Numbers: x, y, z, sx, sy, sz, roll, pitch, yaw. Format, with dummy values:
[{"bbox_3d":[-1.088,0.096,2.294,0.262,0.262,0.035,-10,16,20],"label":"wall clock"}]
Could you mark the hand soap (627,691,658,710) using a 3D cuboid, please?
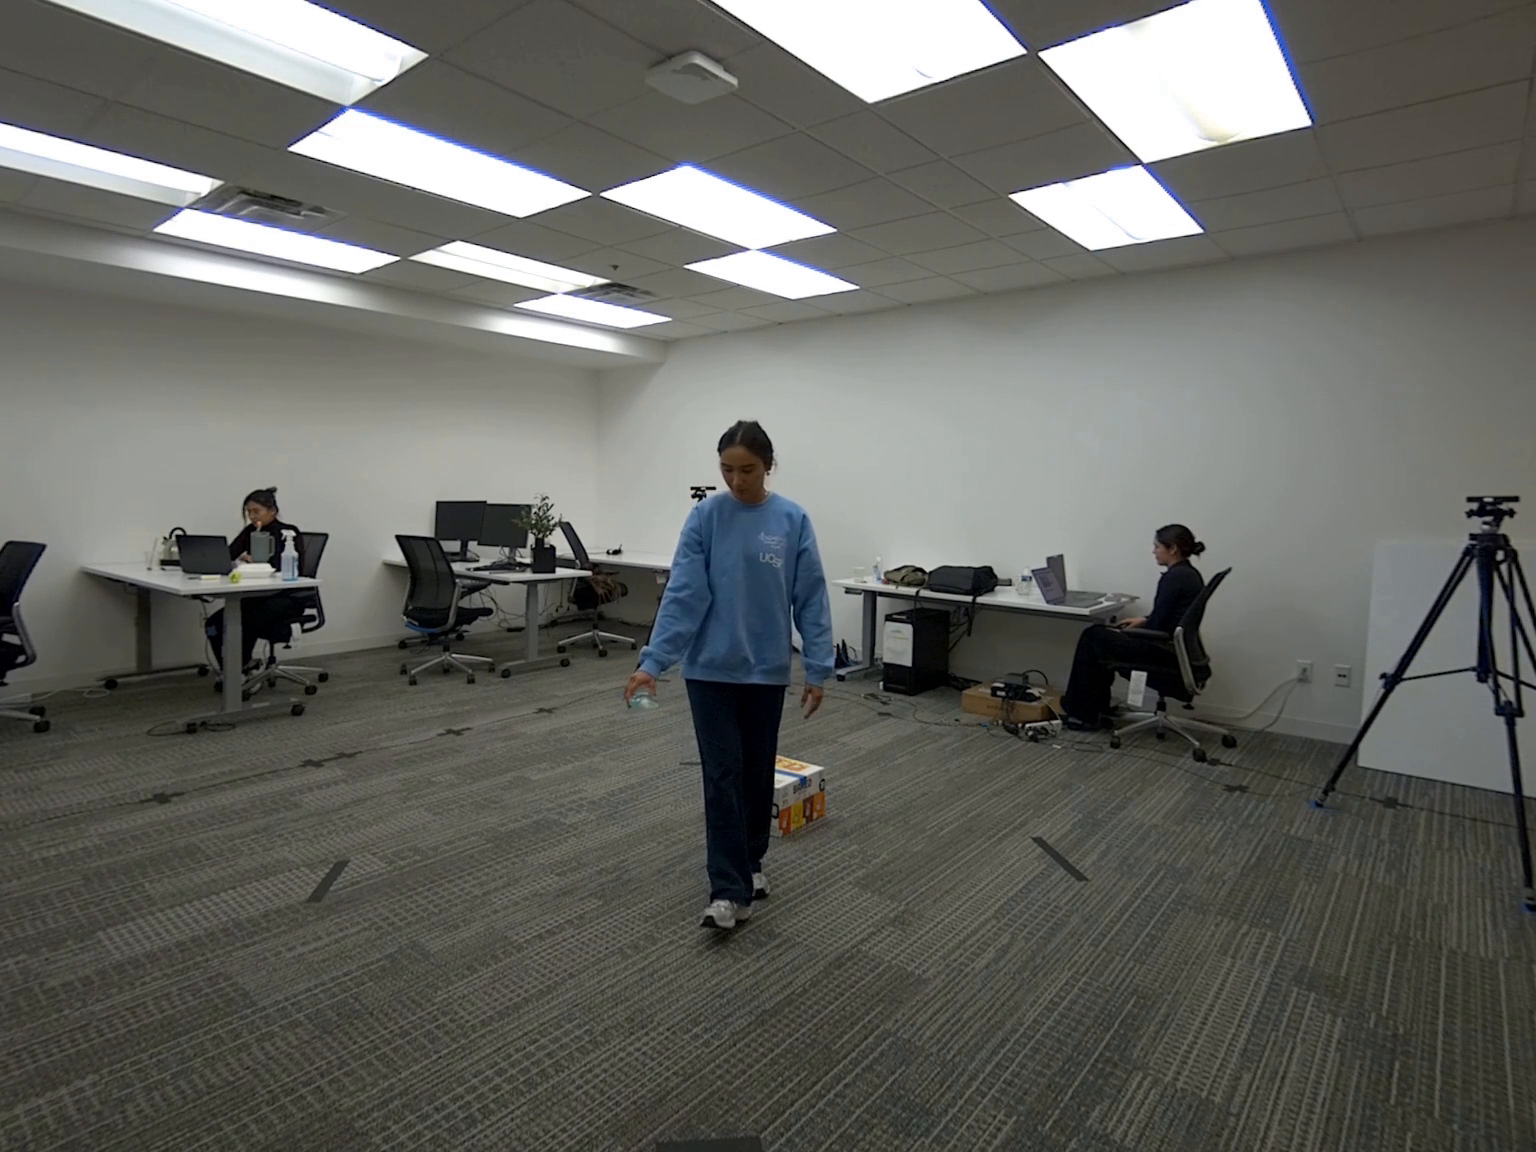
[{"bbox_3d":[-0.397,0.381,2.571,0.083,0.043,0.172,-3,7,-19],"label":"hand soap"}]
